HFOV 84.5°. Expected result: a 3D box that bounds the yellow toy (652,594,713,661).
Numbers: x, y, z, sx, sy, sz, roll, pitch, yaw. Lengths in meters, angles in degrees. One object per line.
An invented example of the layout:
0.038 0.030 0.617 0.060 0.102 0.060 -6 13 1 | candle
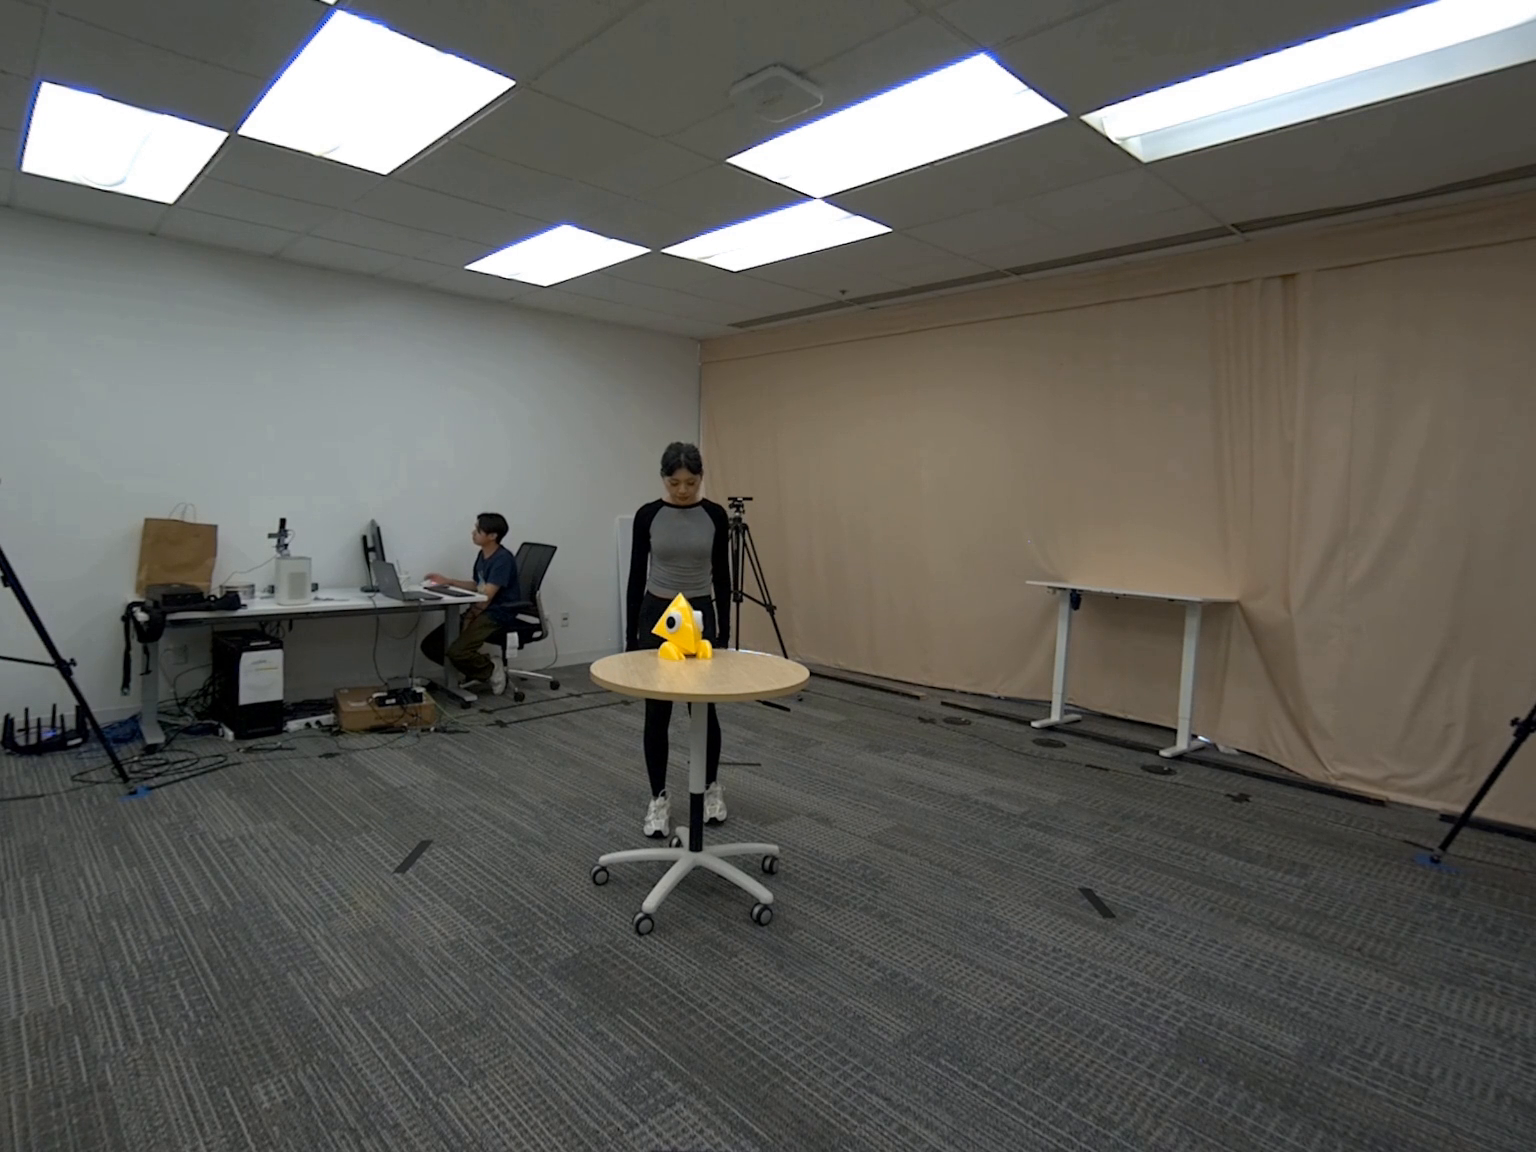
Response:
-0.325 0.187 3.183 0.201 0.230 0.197 0 5 -26 | yellow toy
